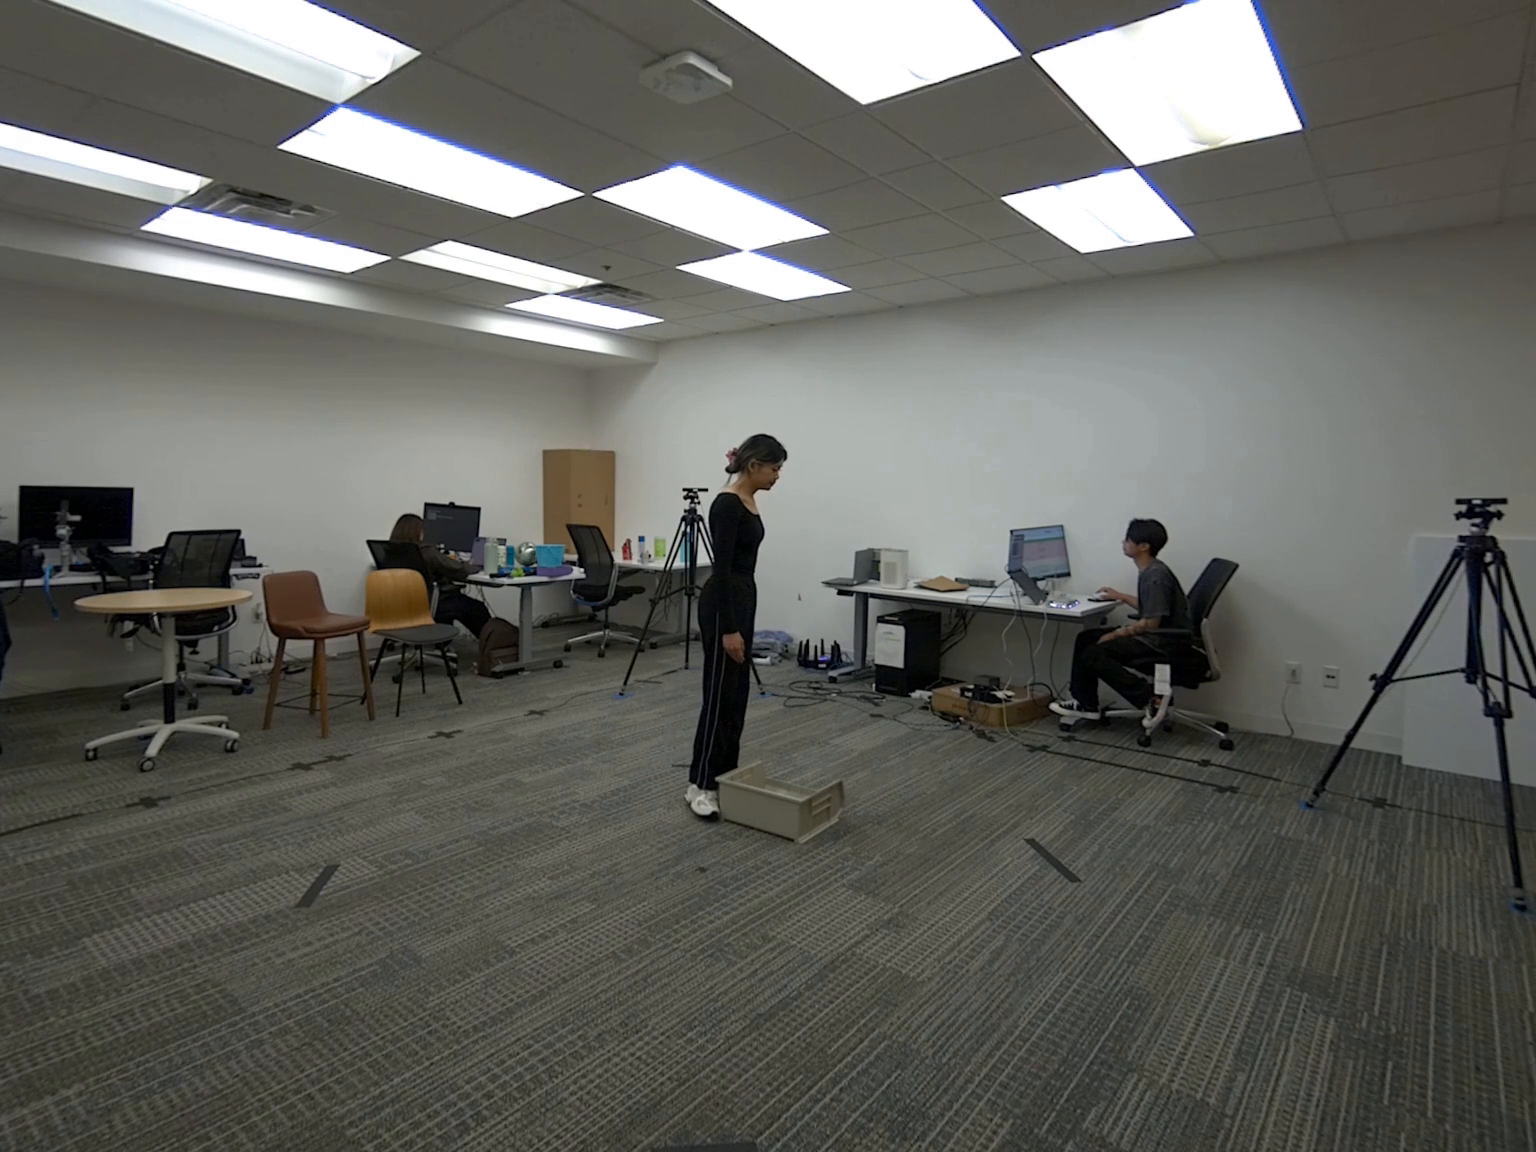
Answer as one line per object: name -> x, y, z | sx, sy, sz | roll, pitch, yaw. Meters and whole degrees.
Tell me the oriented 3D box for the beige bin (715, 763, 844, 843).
beige bin -> 0.046, 0.936, 3.606 | 0.436, 0.188, 0.367 | 5, 8, 34
